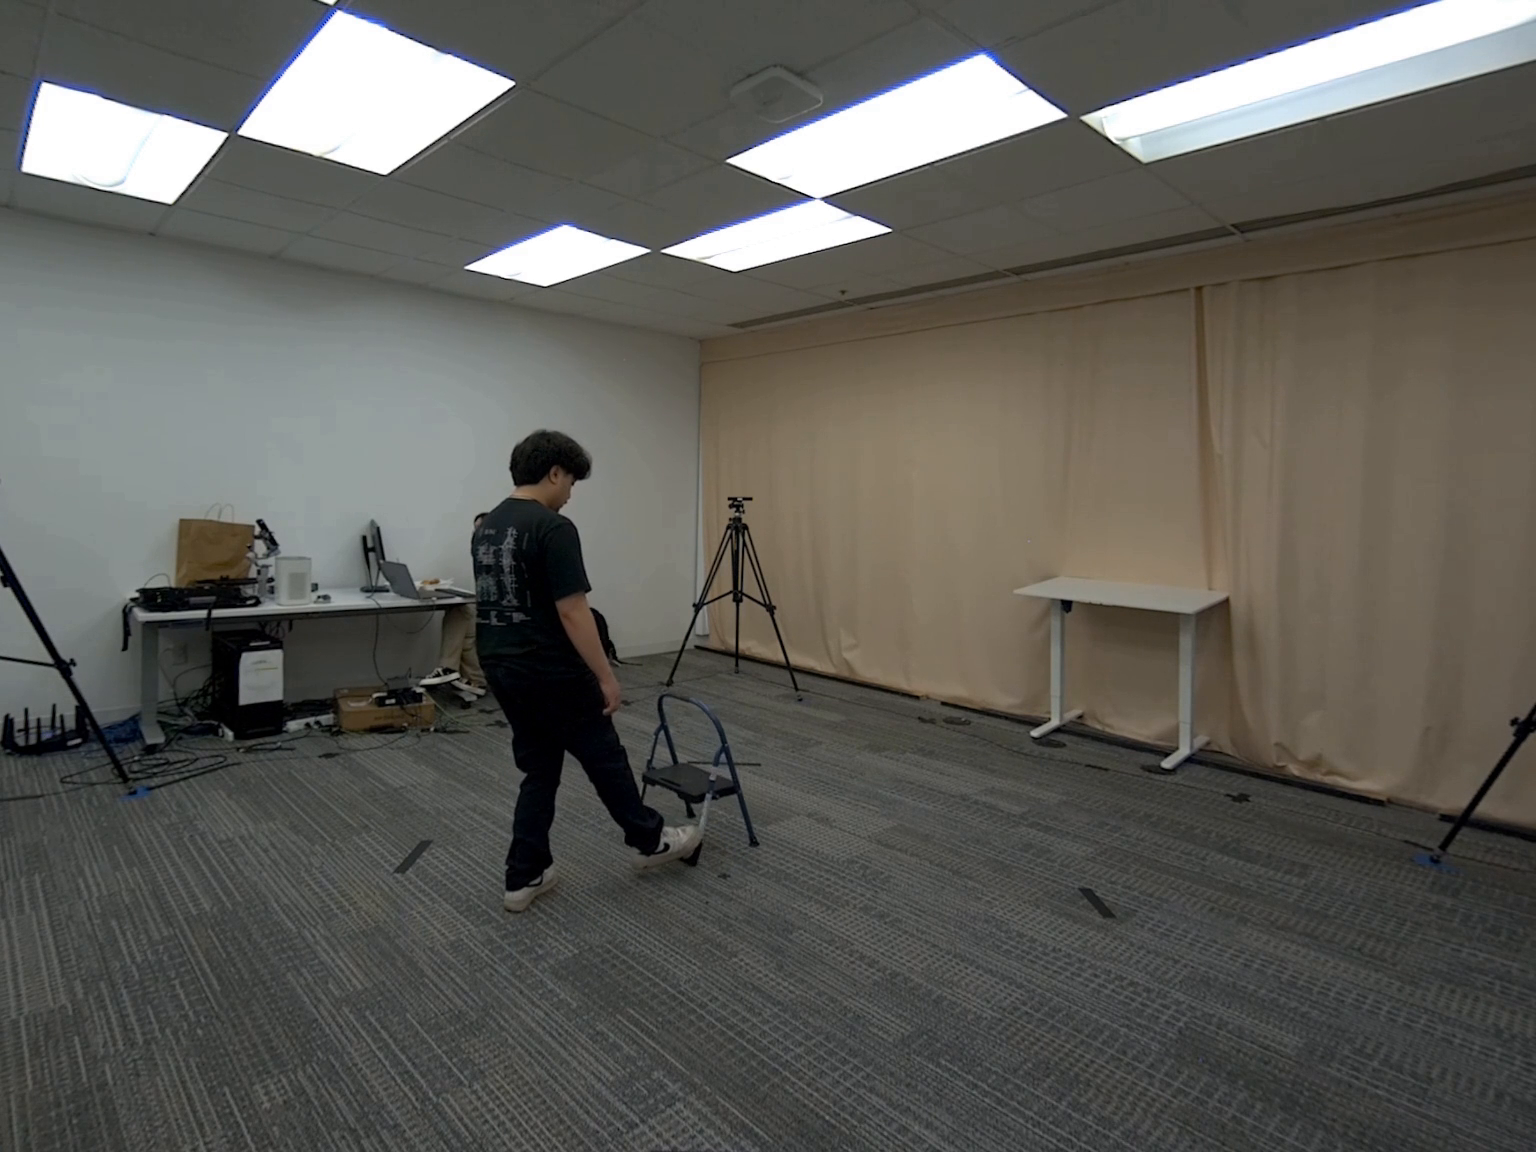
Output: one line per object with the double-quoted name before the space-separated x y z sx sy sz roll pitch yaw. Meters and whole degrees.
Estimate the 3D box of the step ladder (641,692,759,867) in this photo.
"step ladder" -0.303 0.771 3.421 0.341 0.605 0.441 -1 4 -44
